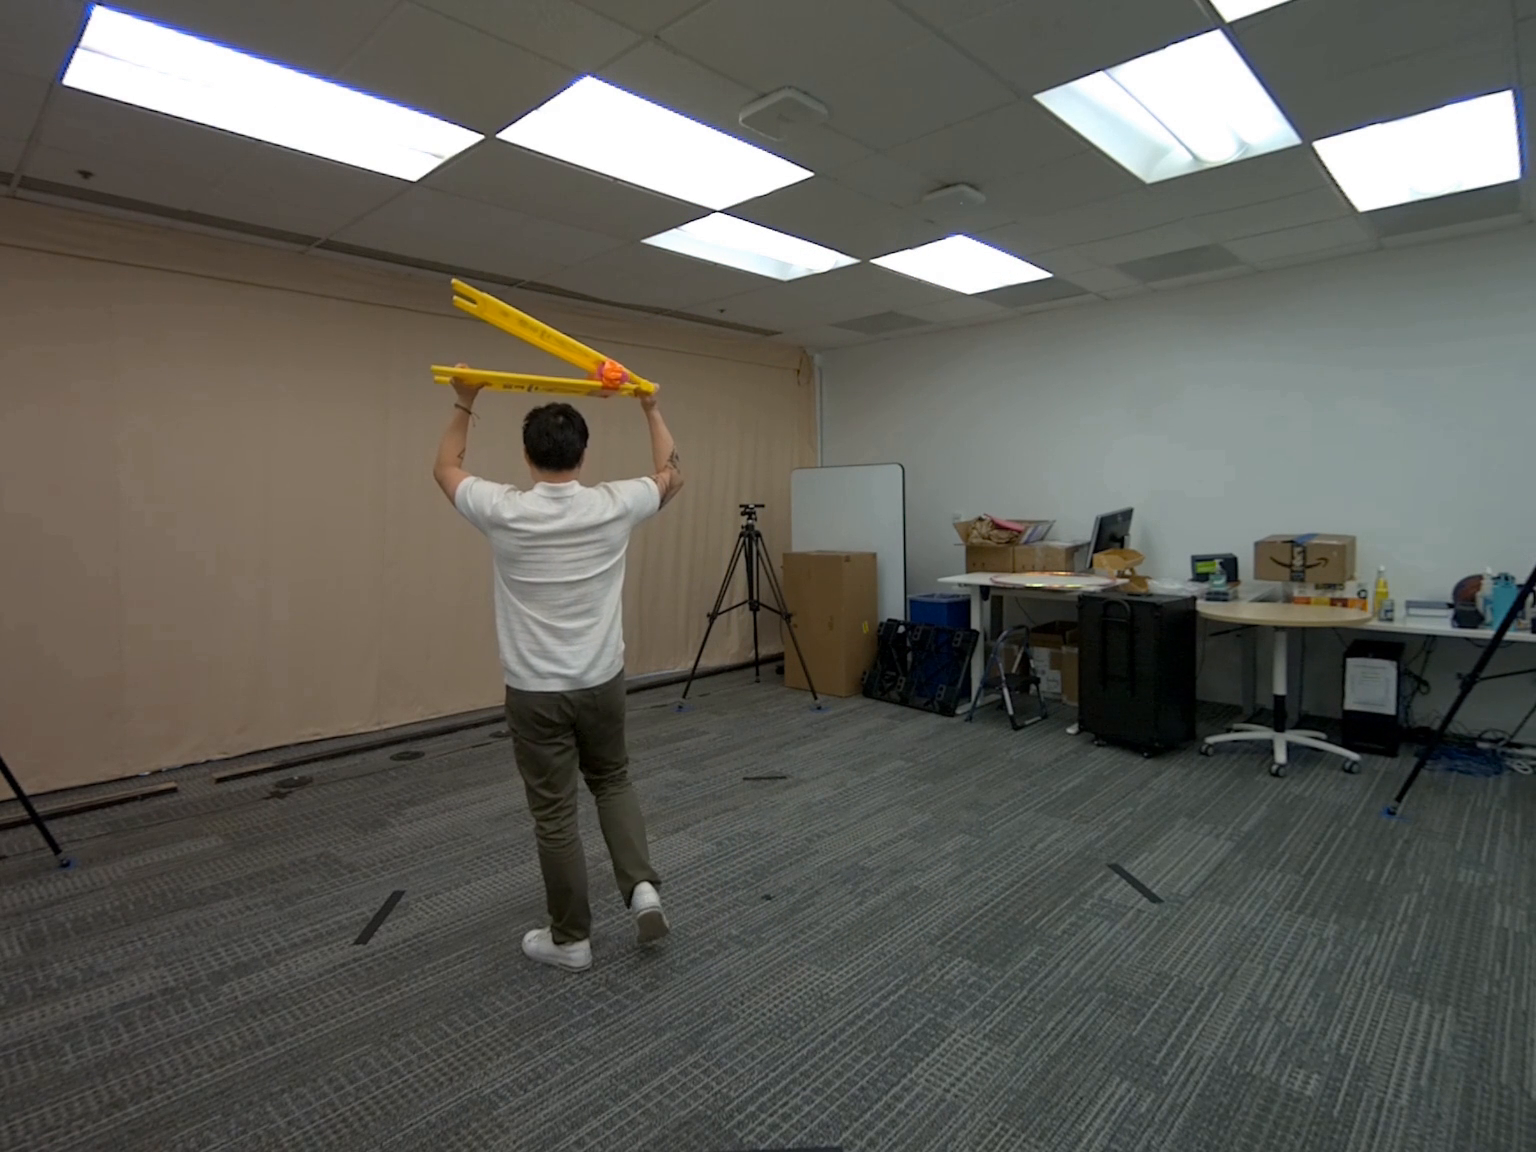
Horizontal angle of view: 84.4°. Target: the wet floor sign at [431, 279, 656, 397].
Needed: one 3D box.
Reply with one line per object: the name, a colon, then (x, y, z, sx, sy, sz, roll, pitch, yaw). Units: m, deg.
wet floor sign: (-0.679, -0.660, 2.601, 0.635, 0.290, 0.287, 13, 0, -15)
